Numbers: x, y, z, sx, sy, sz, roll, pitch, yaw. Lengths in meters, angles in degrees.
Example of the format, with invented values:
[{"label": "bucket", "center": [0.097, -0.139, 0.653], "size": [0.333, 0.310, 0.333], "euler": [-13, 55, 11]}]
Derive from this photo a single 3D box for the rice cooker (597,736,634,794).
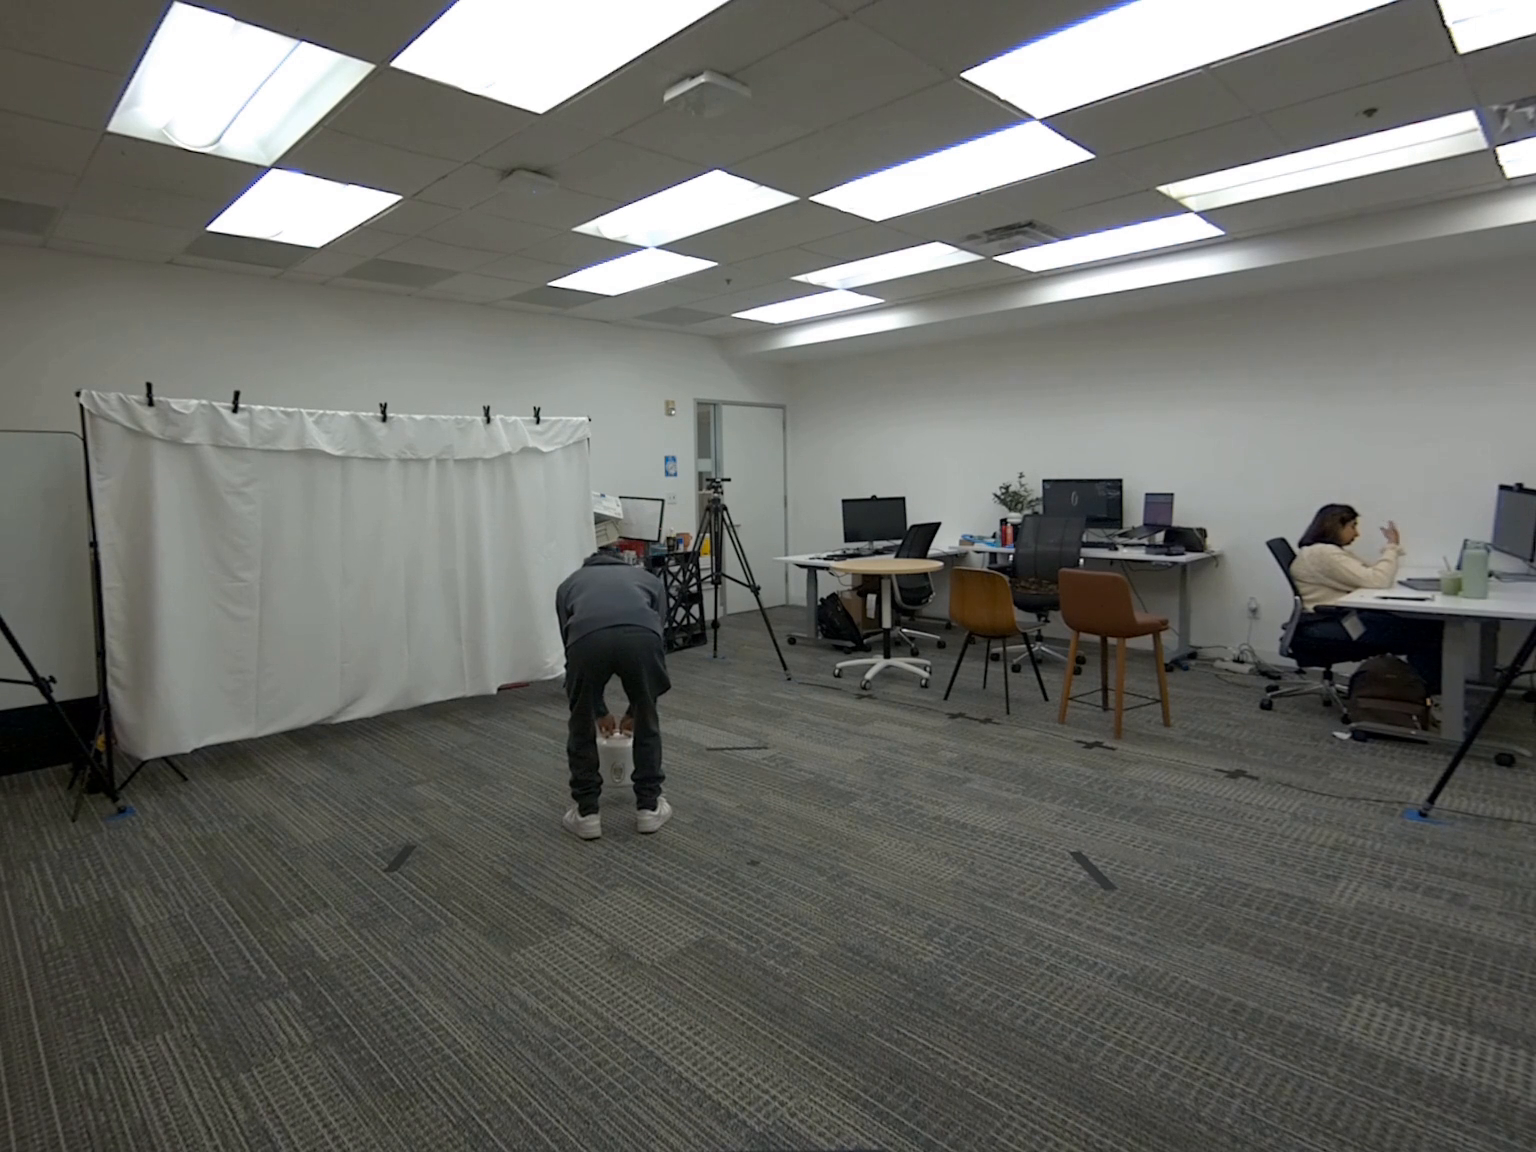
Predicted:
[{"label": "rice cooker", "center": [-0.644, 0.782, 3.715], "size": [0.219, 0.232, 0.220], "euler": [0, 5, -7]}]
